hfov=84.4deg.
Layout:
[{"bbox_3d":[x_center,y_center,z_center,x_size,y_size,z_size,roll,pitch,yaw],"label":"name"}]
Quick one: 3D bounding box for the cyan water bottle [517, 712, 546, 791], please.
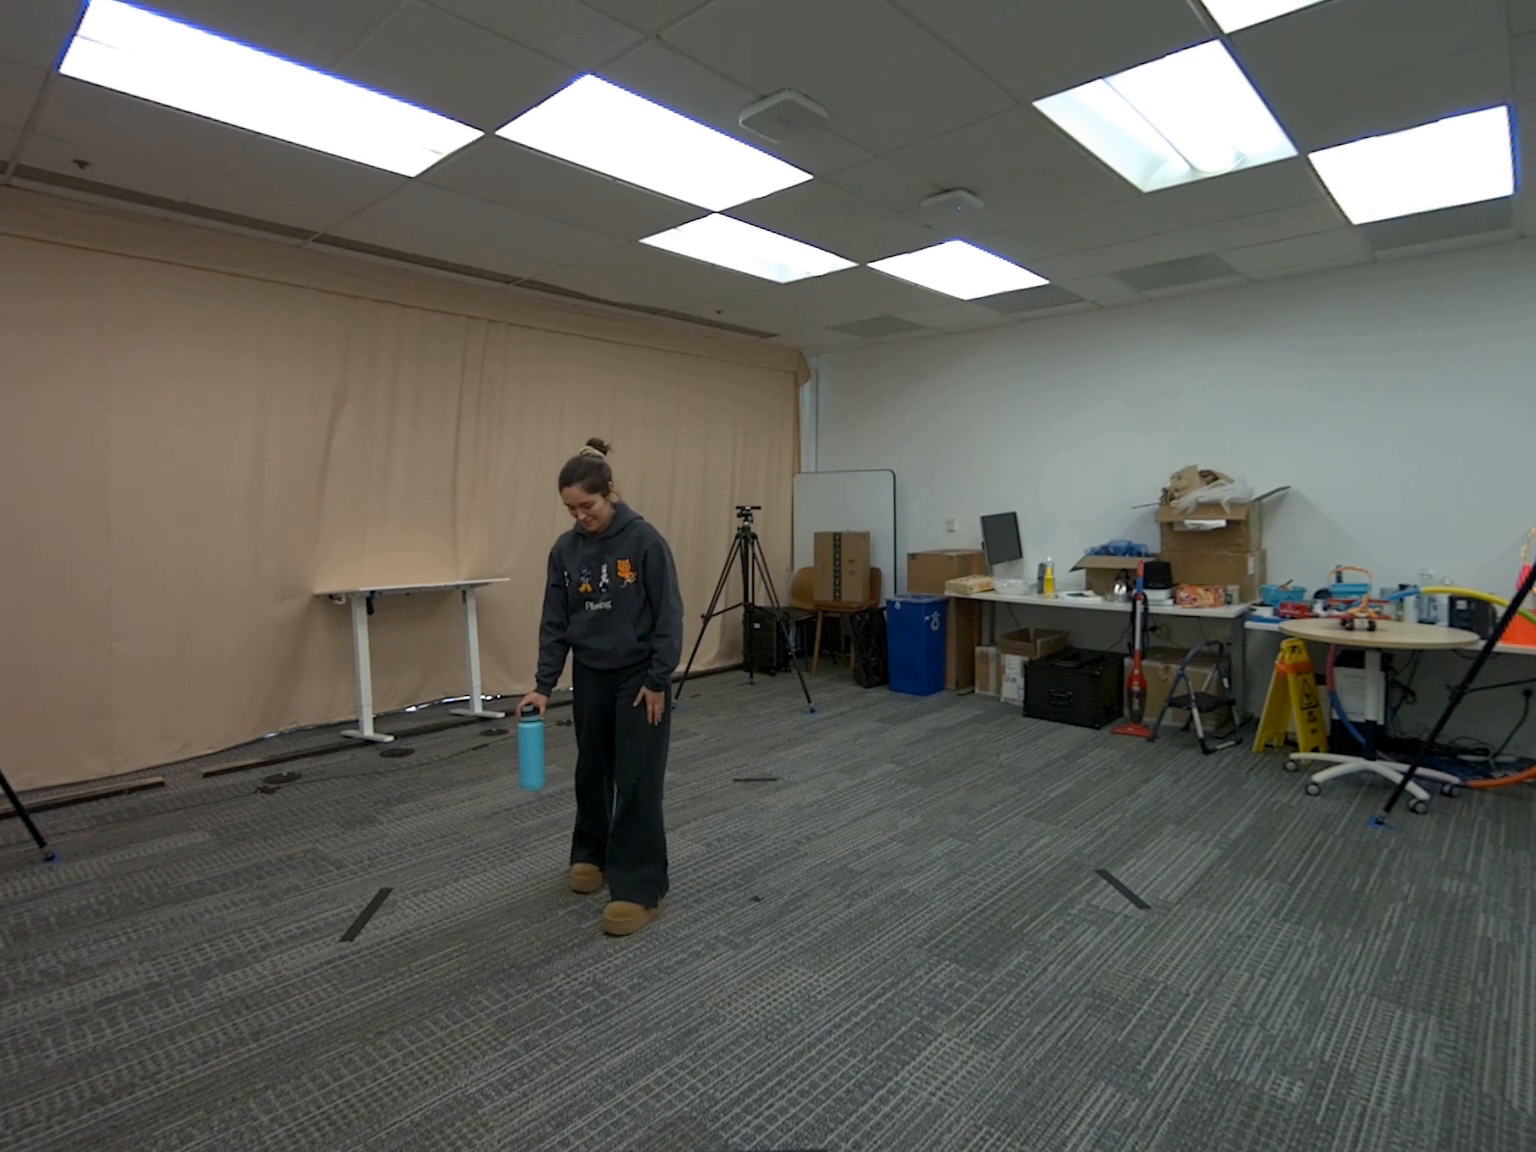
[{"bbox_3d":[-0.803,0.597,2.921,0.092,0.283,0.092,-2,0,-2],"label":"cyan water bottle"}]
